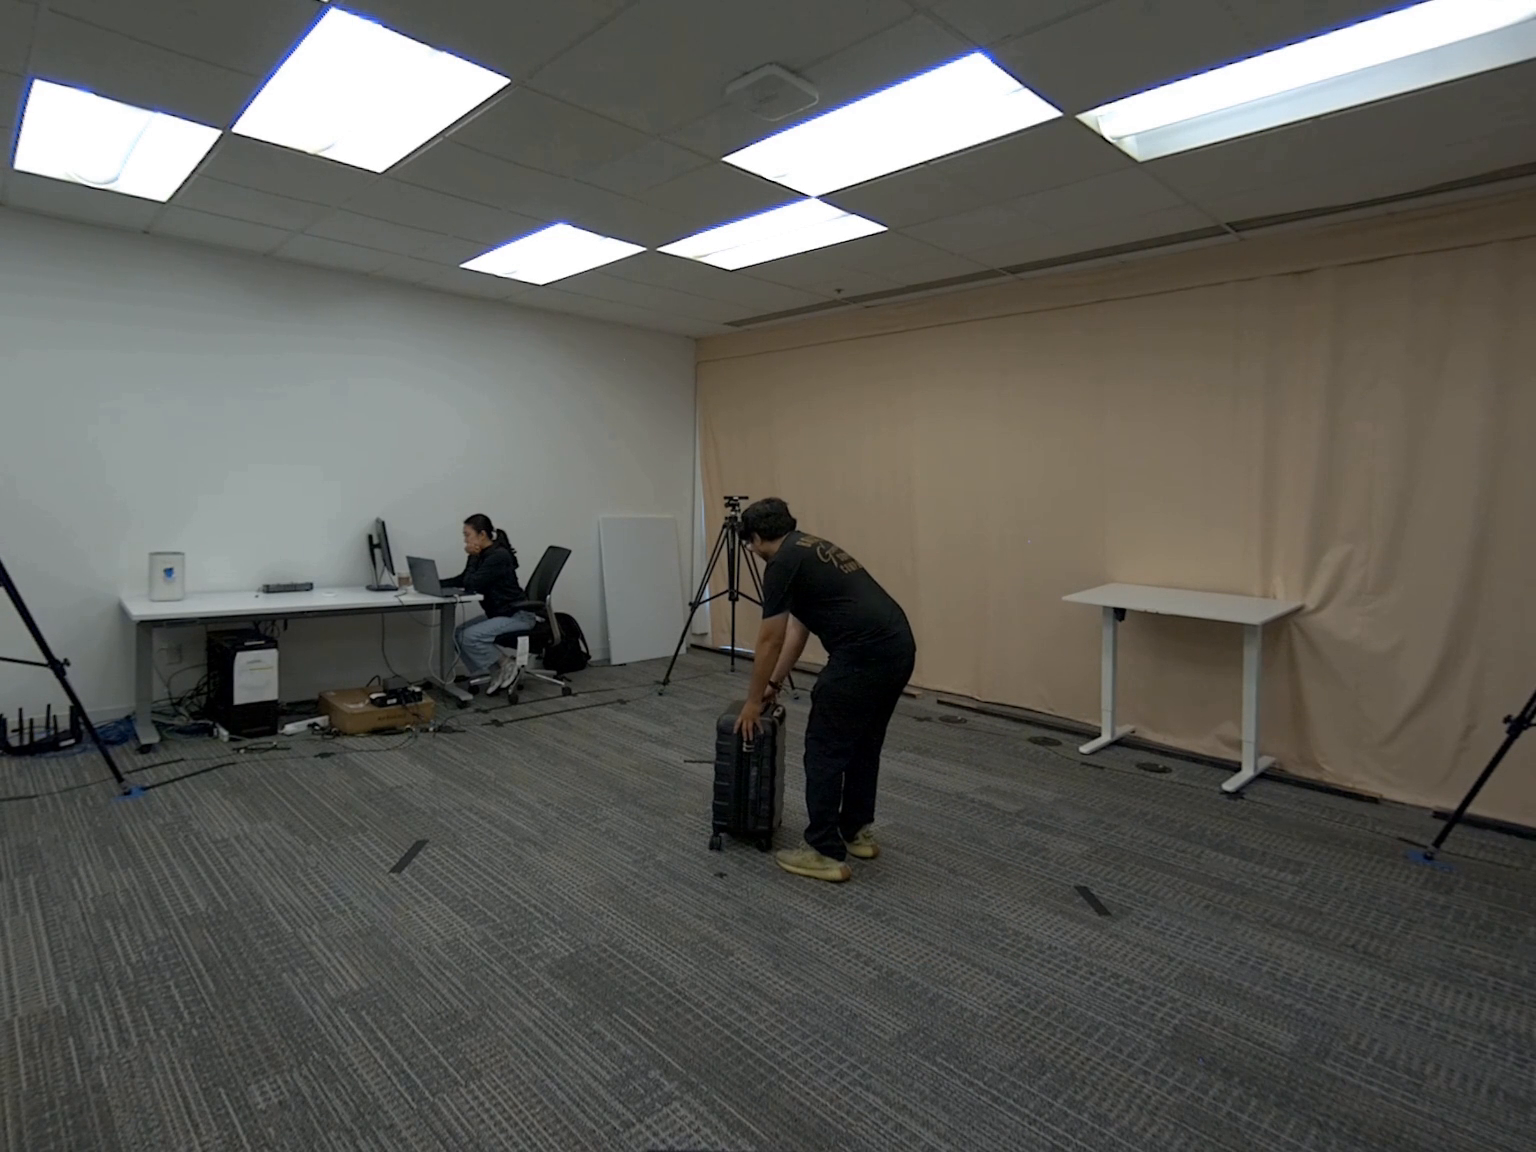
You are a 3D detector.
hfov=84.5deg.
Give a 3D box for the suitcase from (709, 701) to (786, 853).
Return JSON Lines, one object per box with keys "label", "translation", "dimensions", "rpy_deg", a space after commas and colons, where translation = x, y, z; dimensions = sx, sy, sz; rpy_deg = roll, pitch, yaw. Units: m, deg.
{"label": "suitcase", "translation": [-0.073, 0.799, 3.460], "dimensions": [0.250, 0.548, 0.374], "rpy_deg": [4, 4, 7]}
